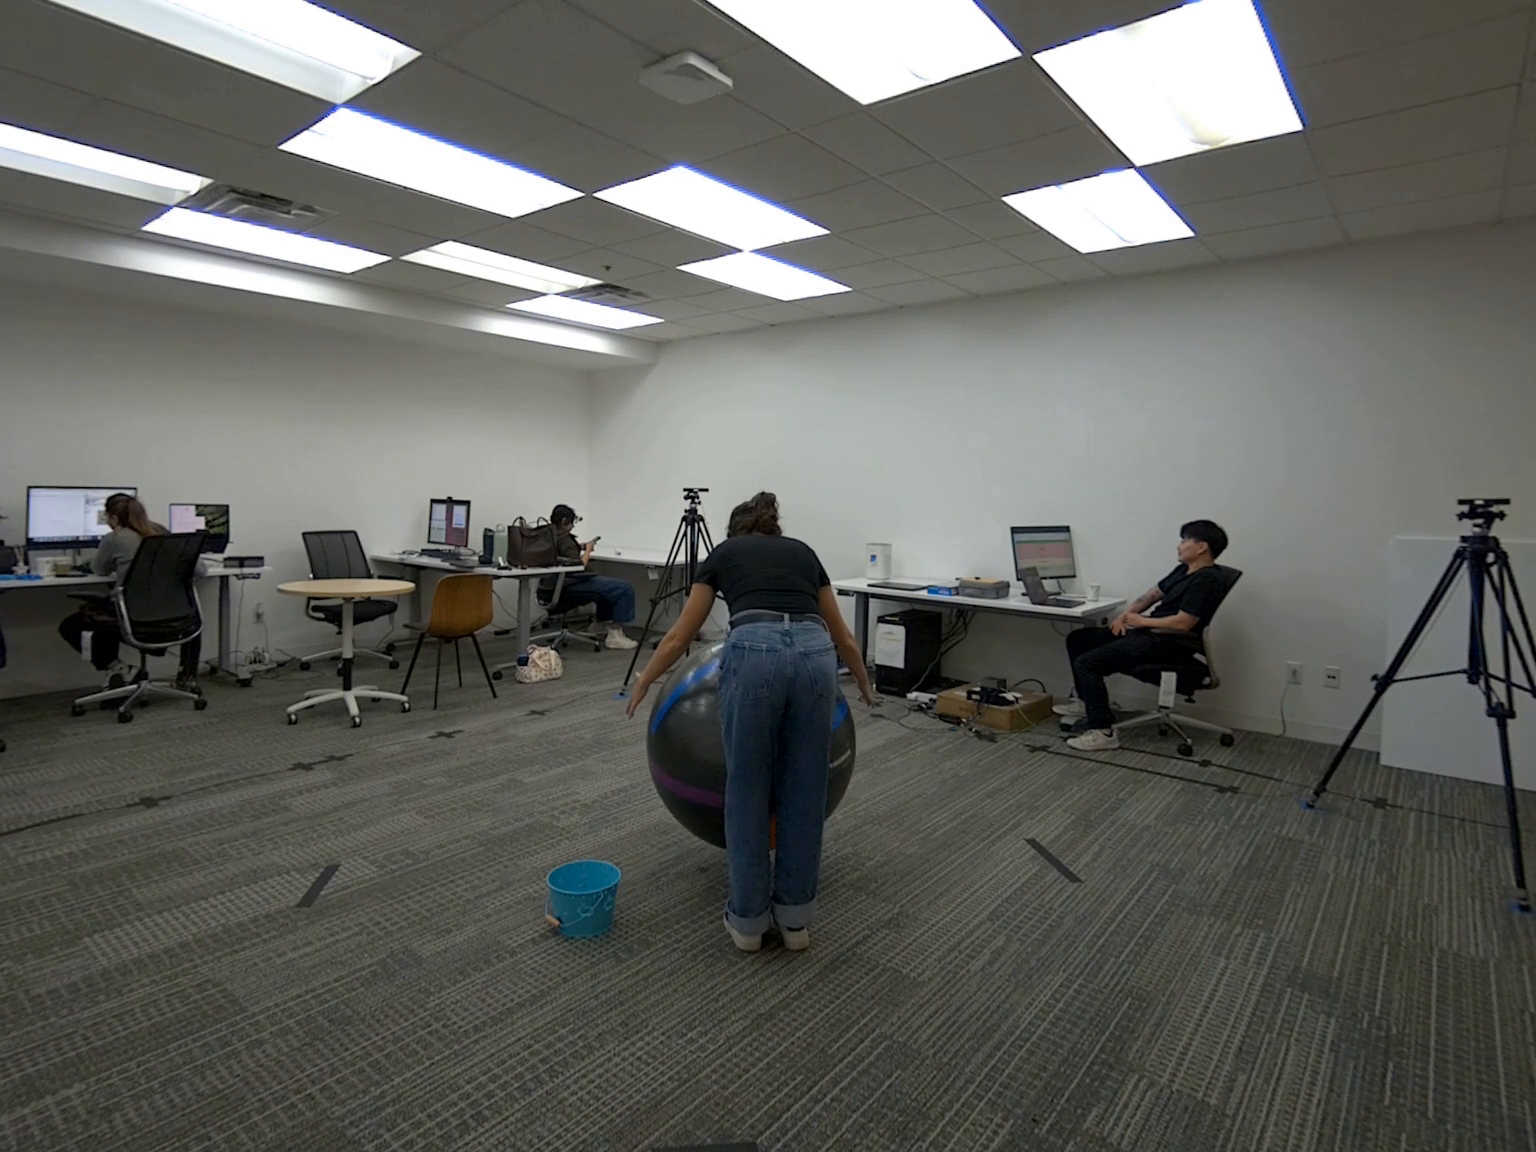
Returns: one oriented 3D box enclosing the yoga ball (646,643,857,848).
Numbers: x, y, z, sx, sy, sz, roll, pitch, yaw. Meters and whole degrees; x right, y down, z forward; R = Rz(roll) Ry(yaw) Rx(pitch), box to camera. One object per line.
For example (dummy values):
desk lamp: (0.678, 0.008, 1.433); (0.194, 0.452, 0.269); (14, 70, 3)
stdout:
yoga ball: (-0.061, 0.616, 3.094); (0.757, 0.755, 0.762); (1, 4, -2)
